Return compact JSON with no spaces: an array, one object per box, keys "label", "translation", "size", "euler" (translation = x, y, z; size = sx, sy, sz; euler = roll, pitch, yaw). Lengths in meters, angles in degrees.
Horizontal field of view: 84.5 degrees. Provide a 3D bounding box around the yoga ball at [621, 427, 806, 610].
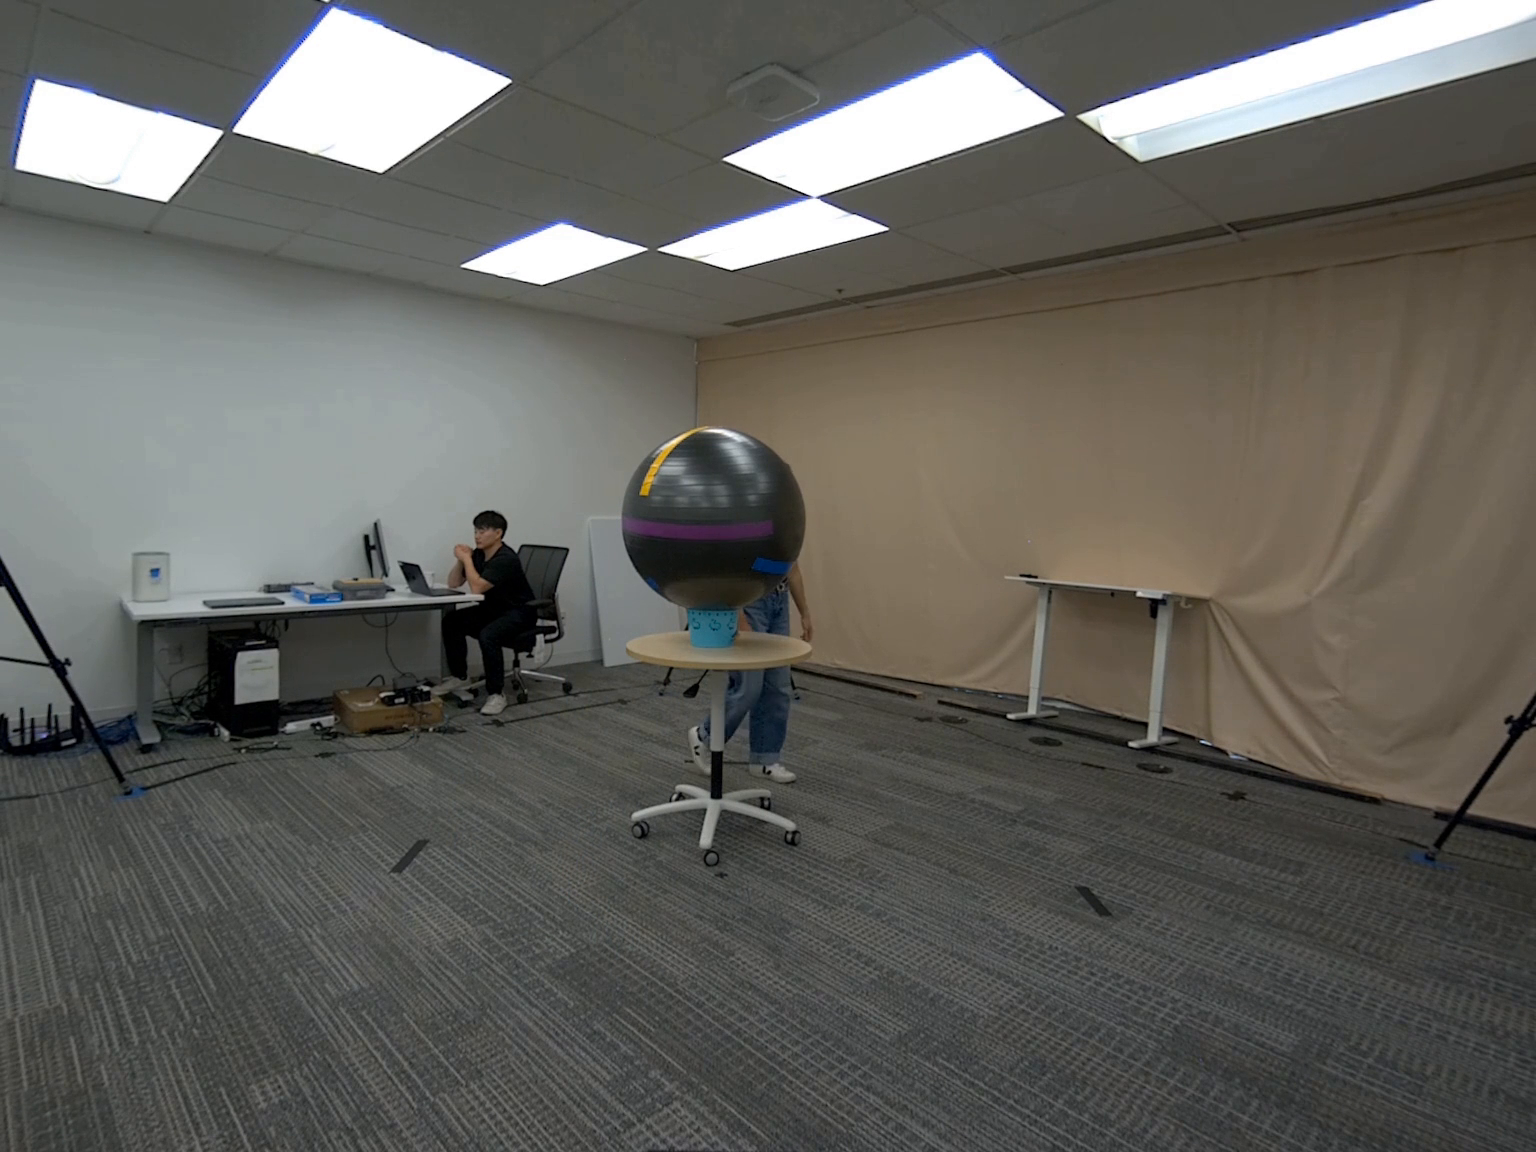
[{"label":"yoga ball","translation":[-0.225,-0.228,3.488],"size":[0.757,0.756,0.761],"euler":[1,4,-1]}]
